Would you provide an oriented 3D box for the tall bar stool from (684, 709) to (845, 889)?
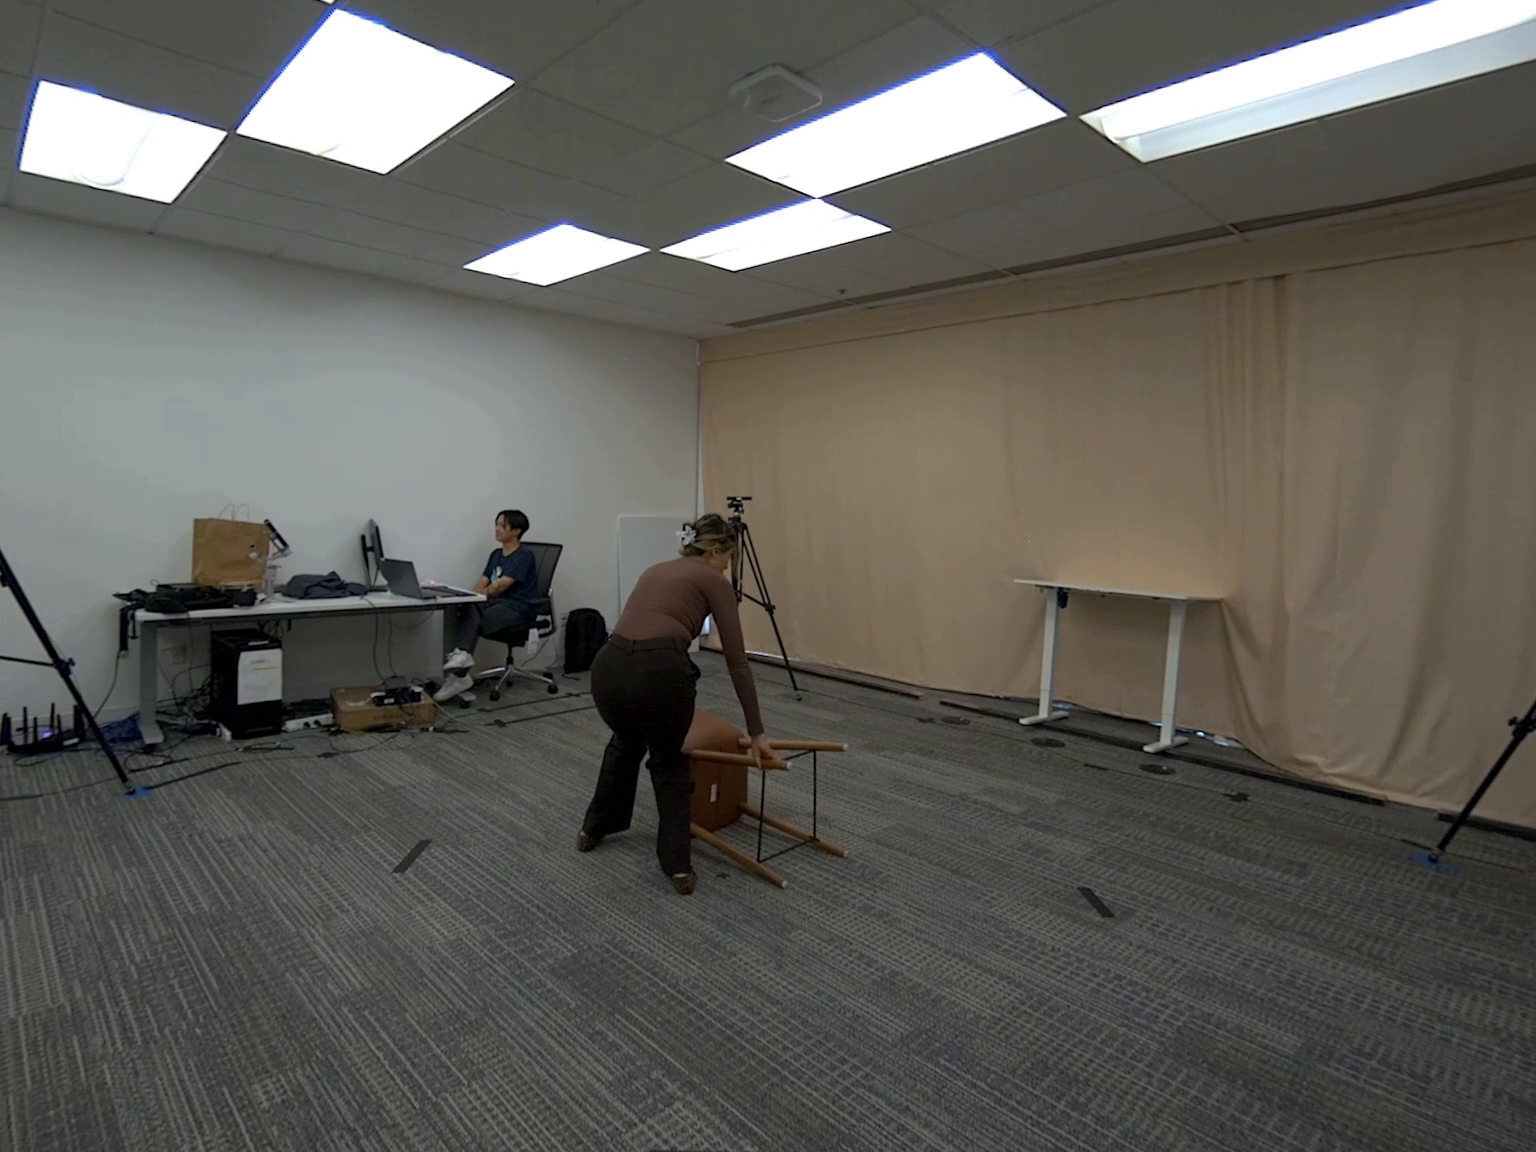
[{"bbox_3d":[-0.157,0.845,3.435,0.913,0.466,0.446,7,6,41],"label":"tall bar stool"}]
